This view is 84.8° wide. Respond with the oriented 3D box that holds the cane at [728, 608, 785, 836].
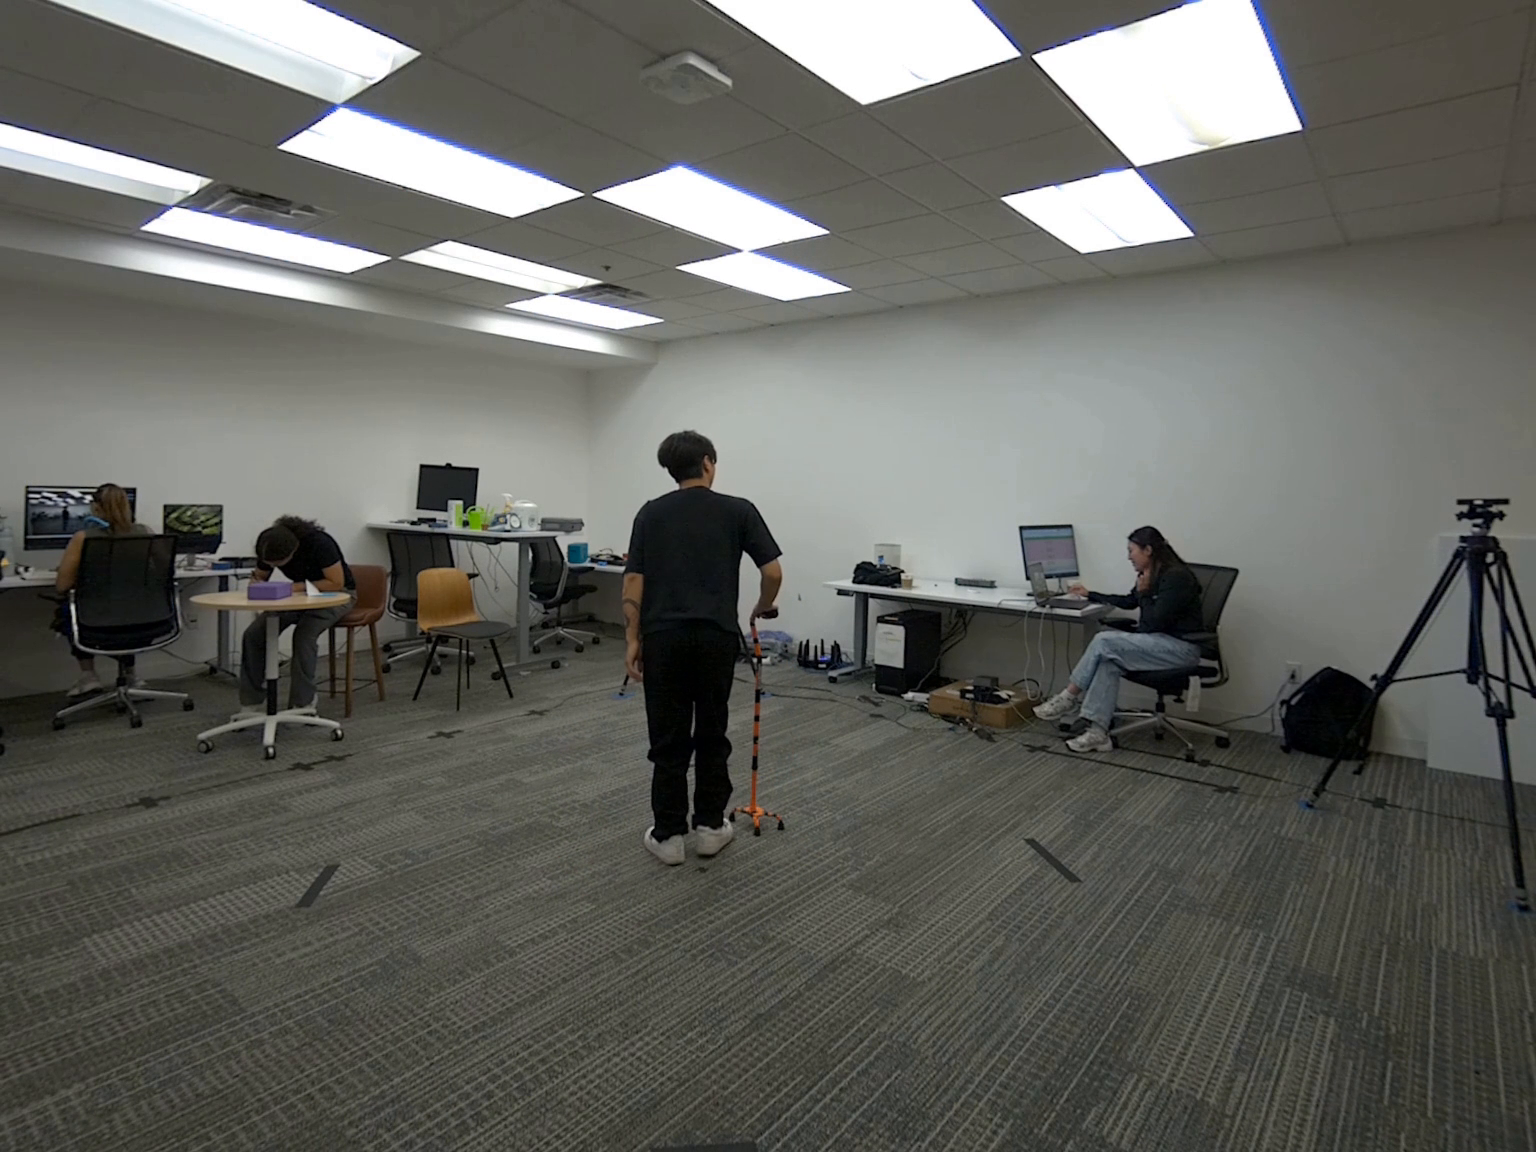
[{"bbox_3d":[-0.045,0.579,3.520,0.147,0.907,0.213,1,2,-36],"label":"cane"}]
